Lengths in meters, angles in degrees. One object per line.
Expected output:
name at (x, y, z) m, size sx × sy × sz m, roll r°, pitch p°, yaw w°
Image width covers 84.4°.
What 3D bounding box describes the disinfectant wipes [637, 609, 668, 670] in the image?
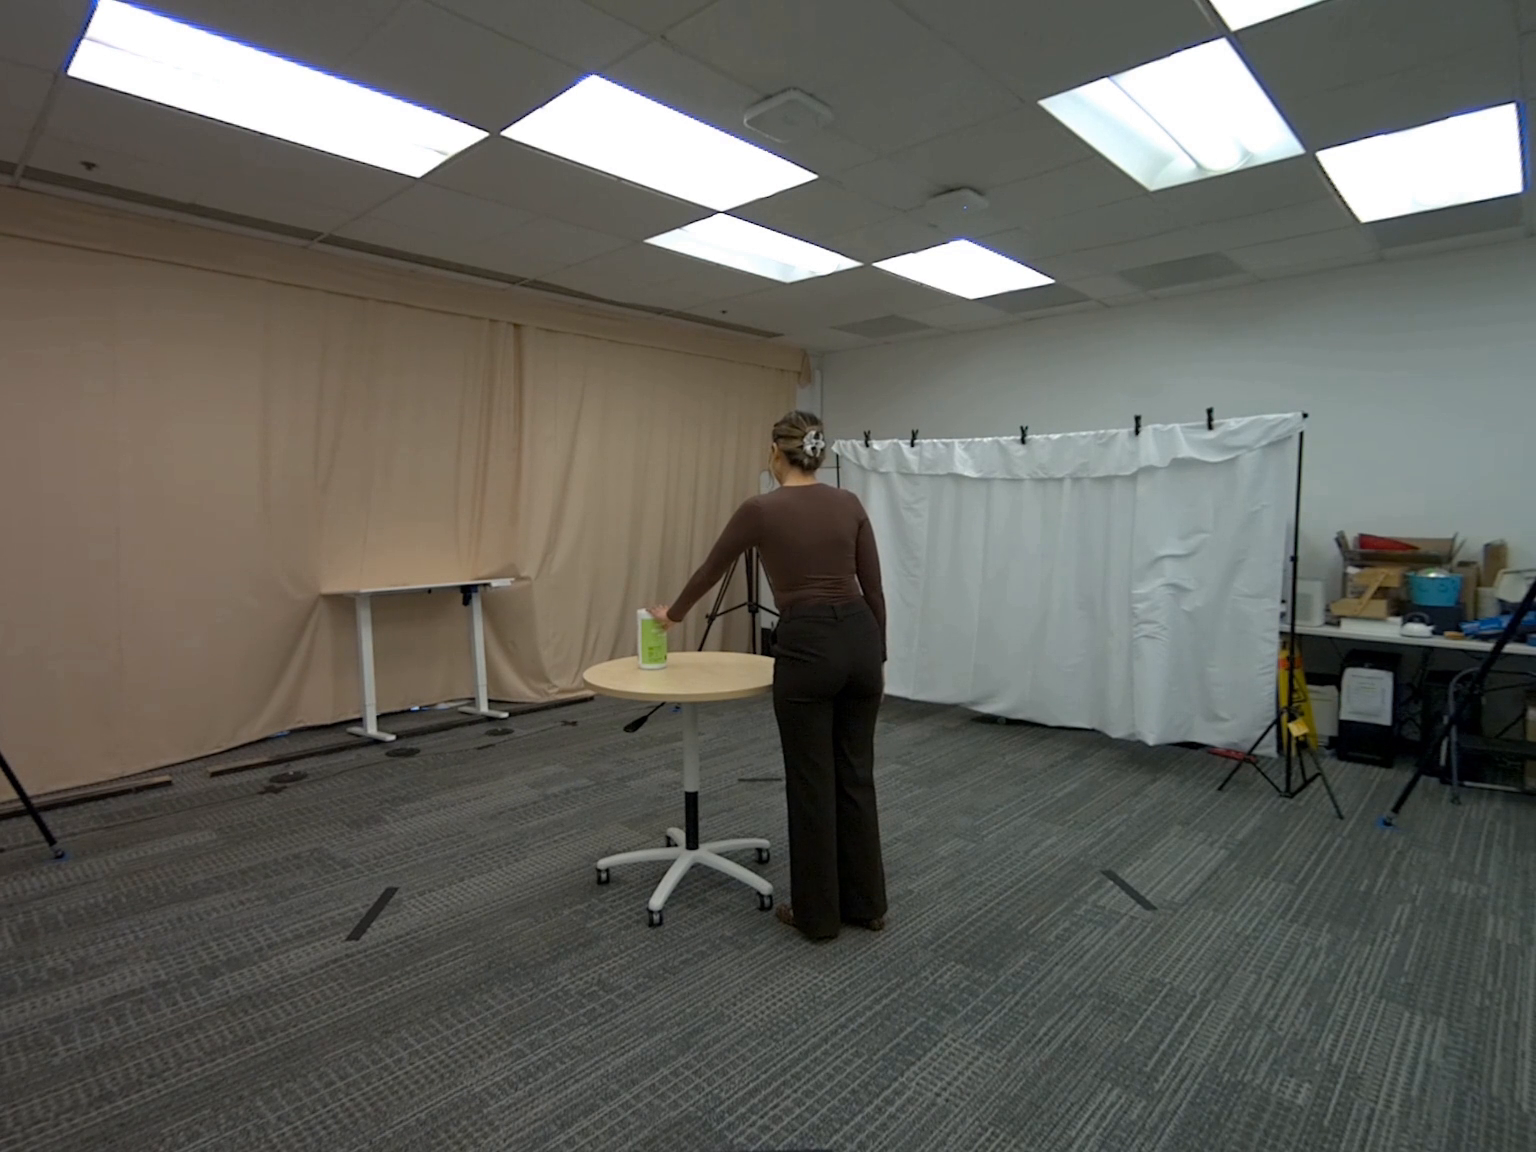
disinfectant wipes at (-0.432, 0.234, 3.123) m, size 0.118 × 0.217 × 0.118 m, roll 0°, pitch 4°, yaw -2°
